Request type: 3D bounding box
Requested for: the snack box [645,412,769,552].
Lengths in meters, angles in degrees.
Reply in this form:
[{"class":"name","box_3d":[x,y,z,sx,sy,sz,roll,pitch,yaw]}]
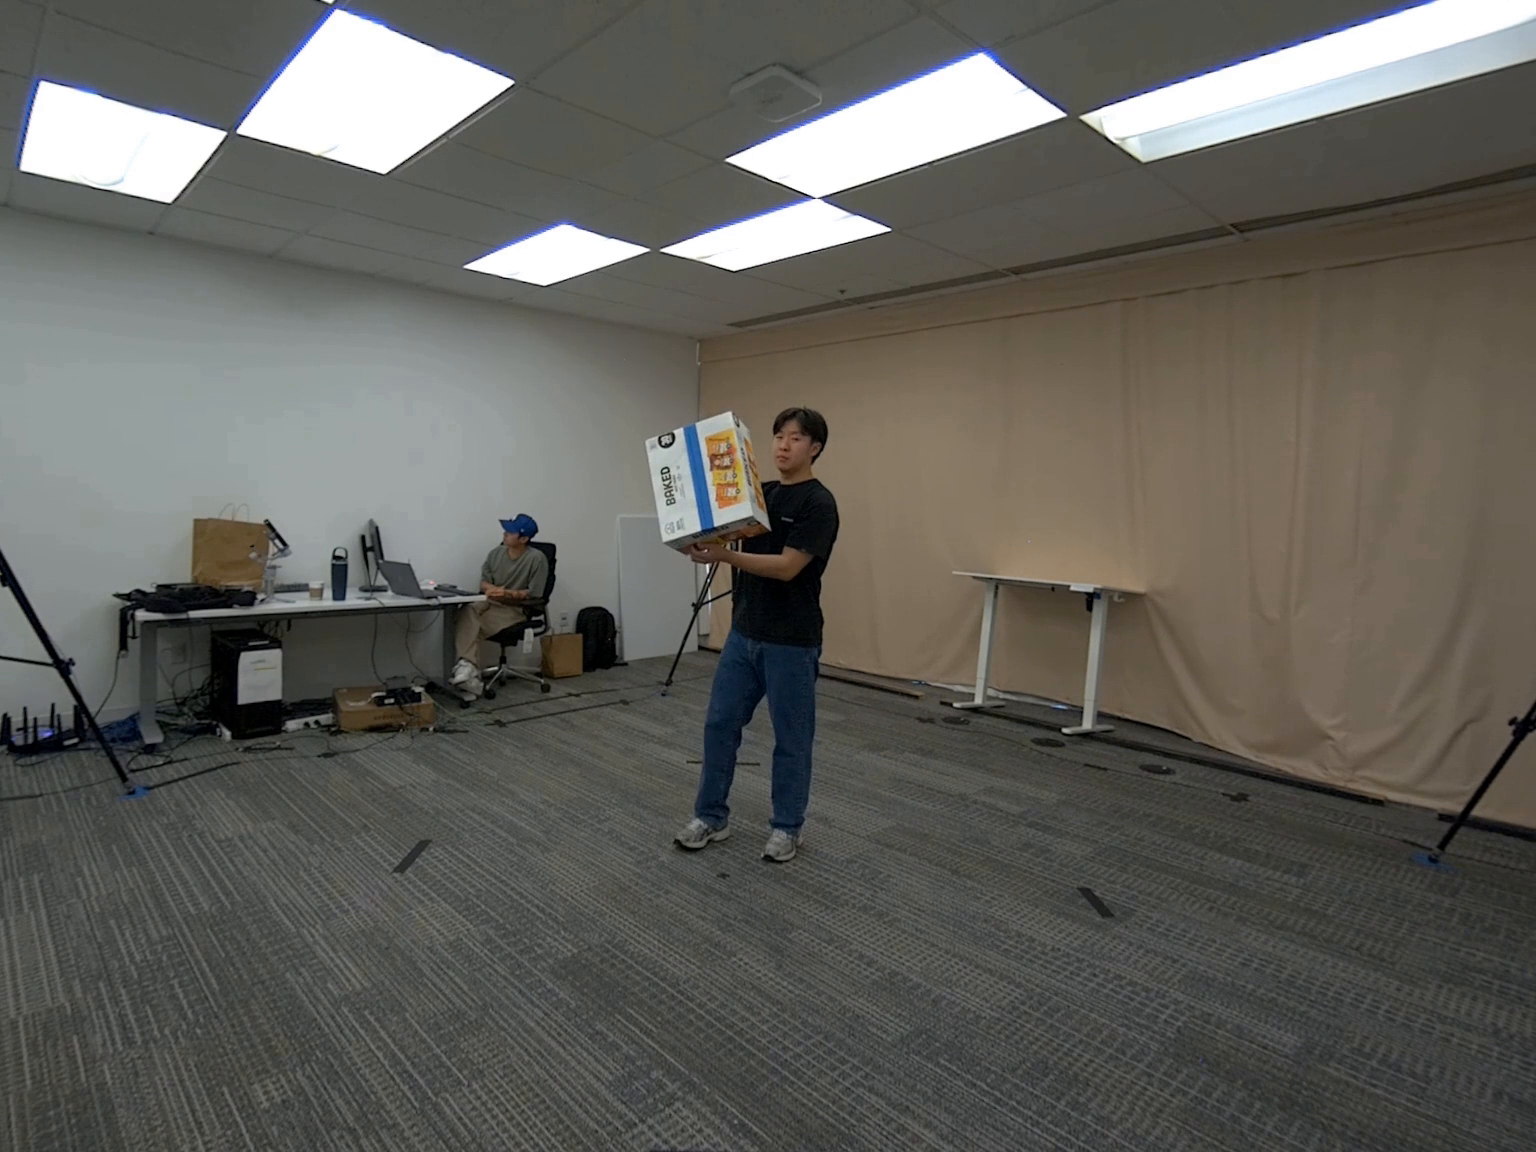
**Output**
[{"class":"snack box","box_3d":[-0.220,-0.323,3.030,0.343,0.411,0.201,-16,-17,15]}]
